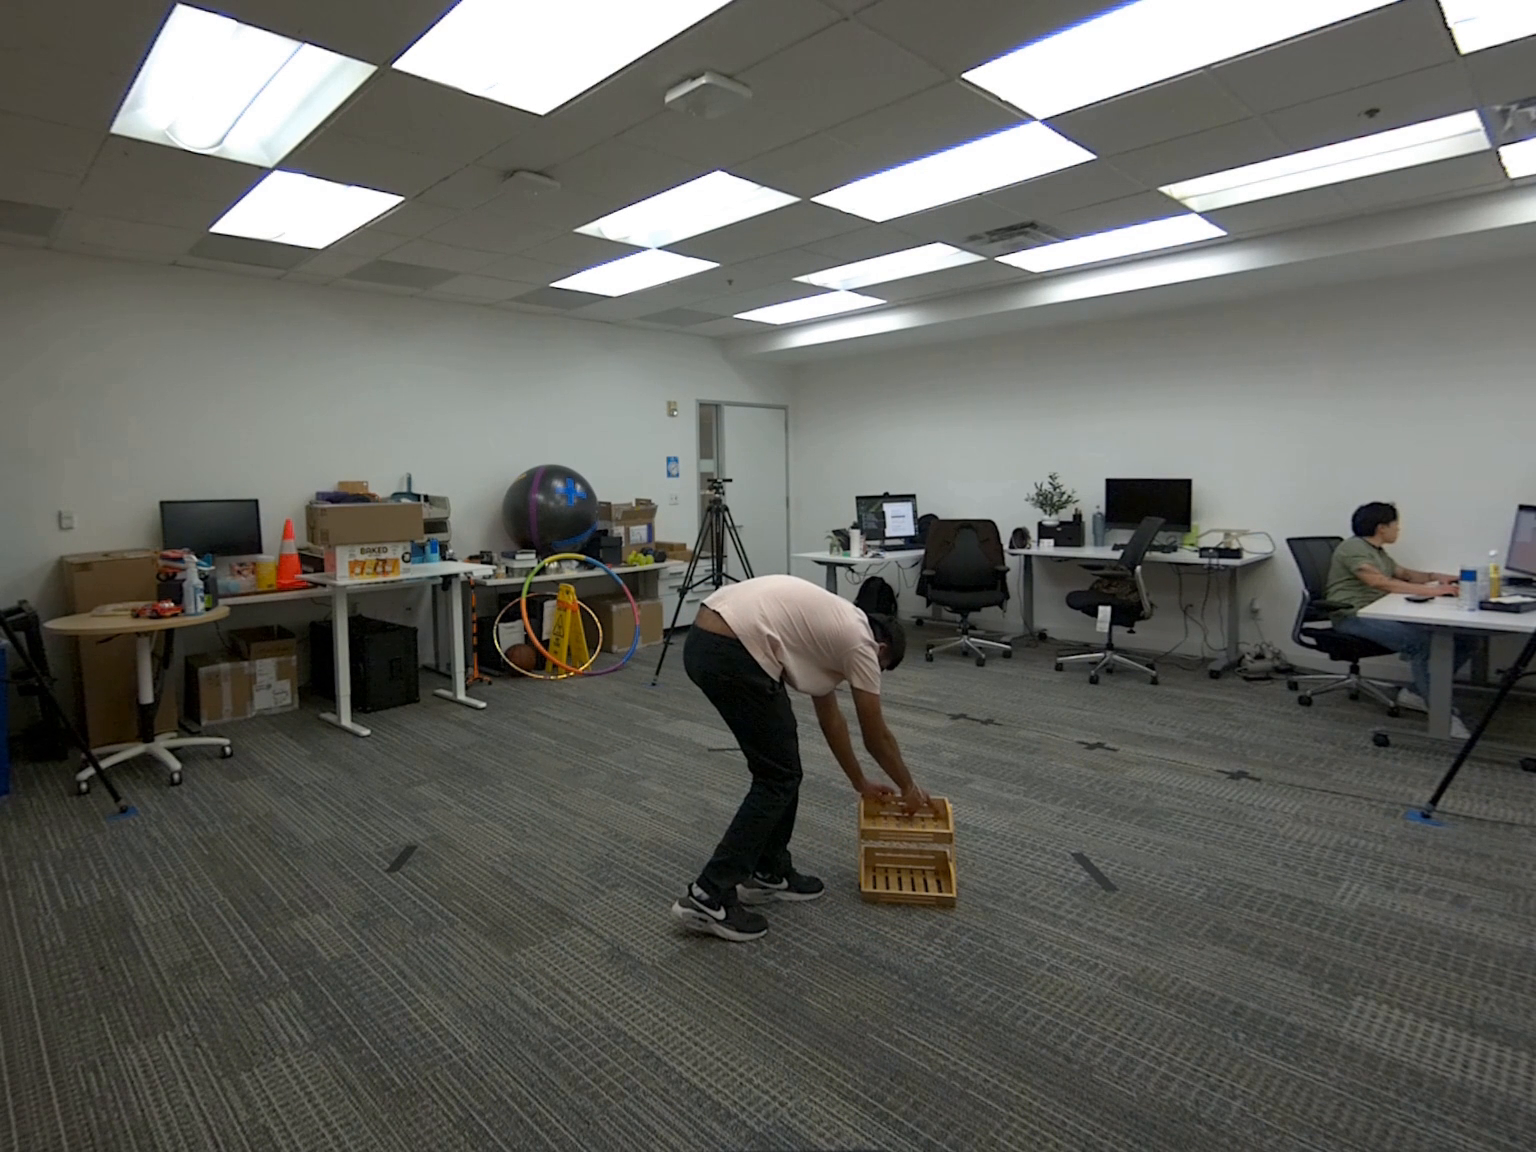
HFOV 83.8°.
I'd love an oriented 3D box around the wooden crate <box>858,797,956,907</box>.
[{"bbox_3d":[0.478,0.926,2.910,0.327,0.272,0.301,0,4,7],"label":"wooden crate"}]
